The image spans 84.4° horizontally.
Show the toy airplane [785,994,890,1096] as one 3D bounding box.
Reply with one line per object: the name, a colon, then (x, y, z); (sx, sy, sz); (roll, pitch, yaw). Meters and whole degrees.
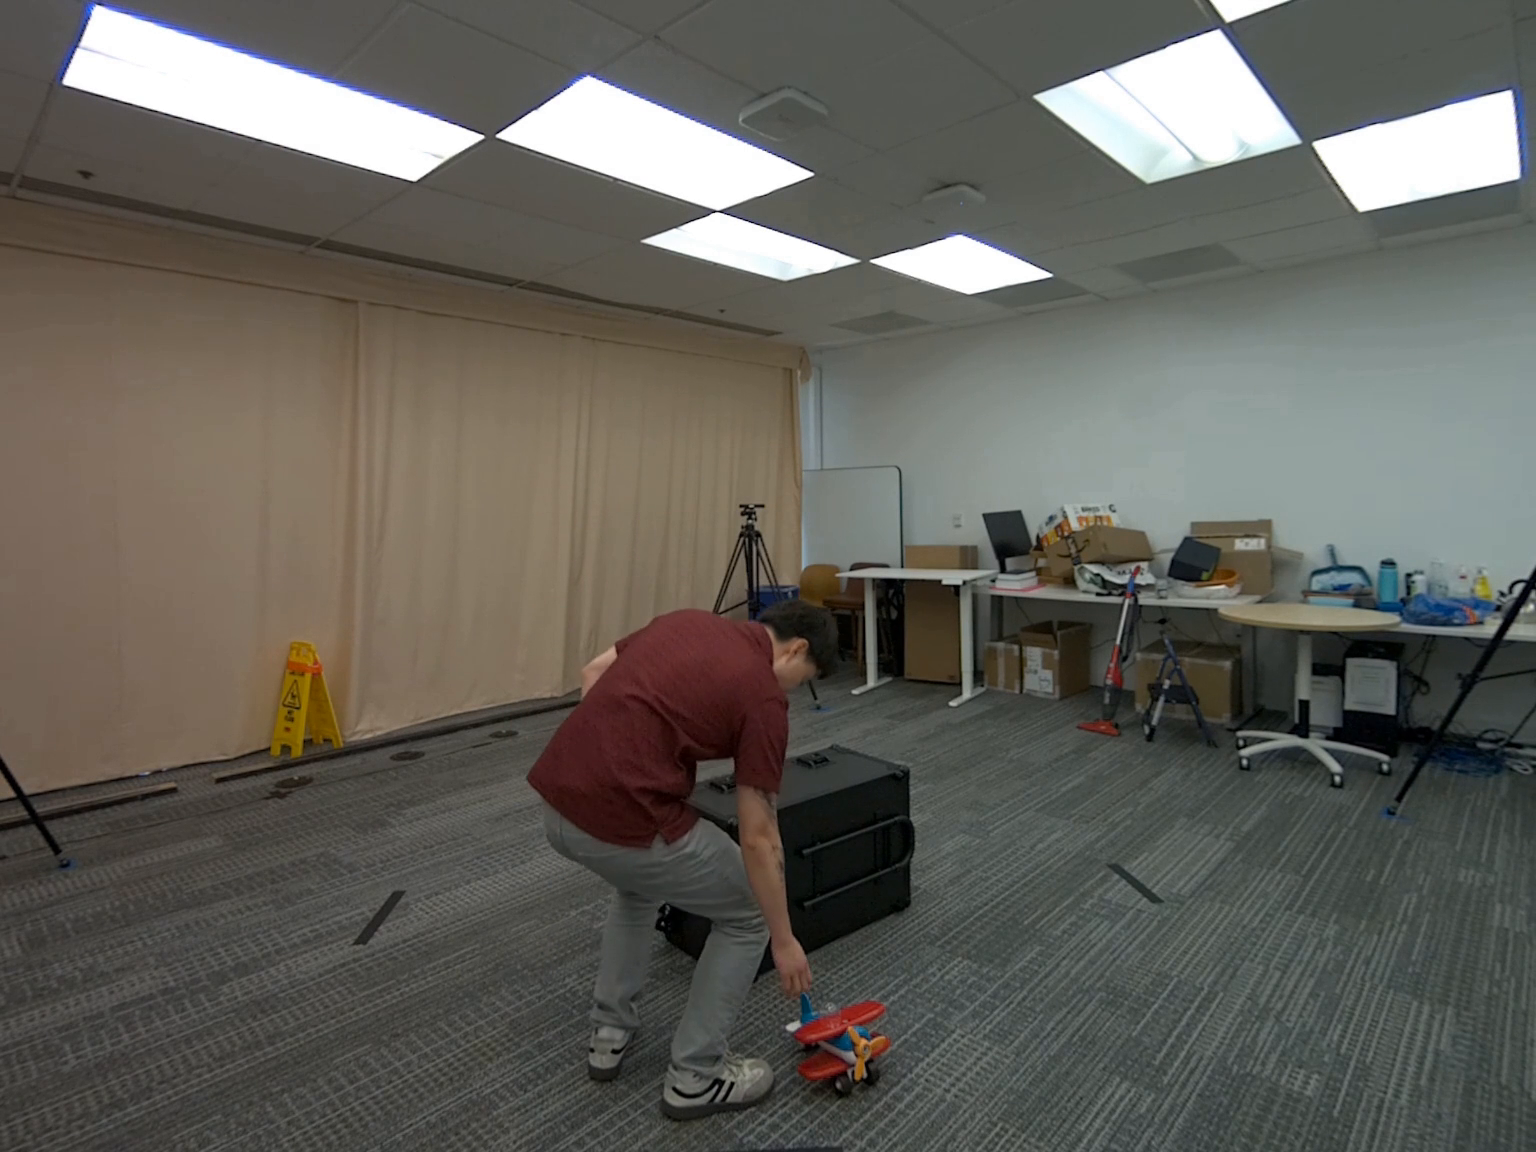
toy airplane: (0.149, 1.139, 2.063); (0.267, 0.156, 0.244); (3, 6, 30)
